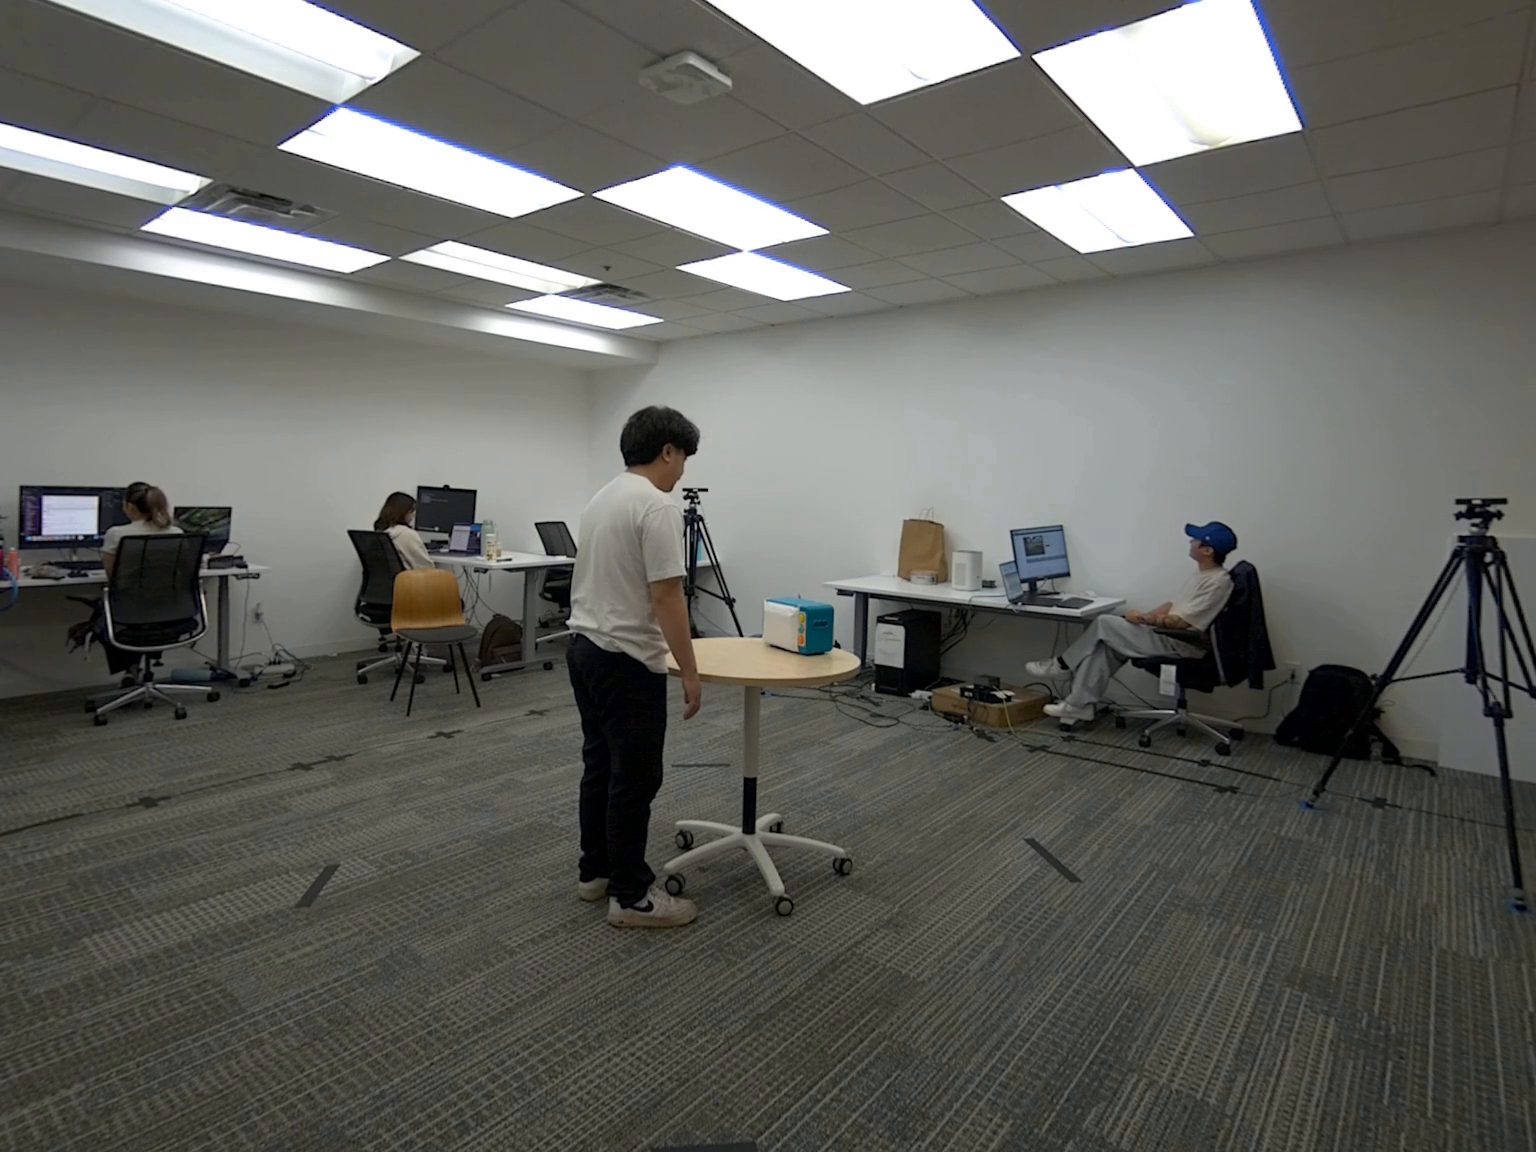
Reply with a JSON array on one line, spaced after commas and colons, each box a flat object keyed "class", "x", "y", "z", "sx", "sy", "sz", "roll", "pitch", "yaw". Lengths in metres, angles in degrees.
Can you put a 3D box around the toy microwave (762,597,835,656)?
[{"class": "toy microwave", "x": 0.097, "y": 0.182, "z": 3.217, "sx": 0.148, "sy": 0.183, "sz": 0.295, "roll": -1, "pitch": 5, "yaw": -34}]
